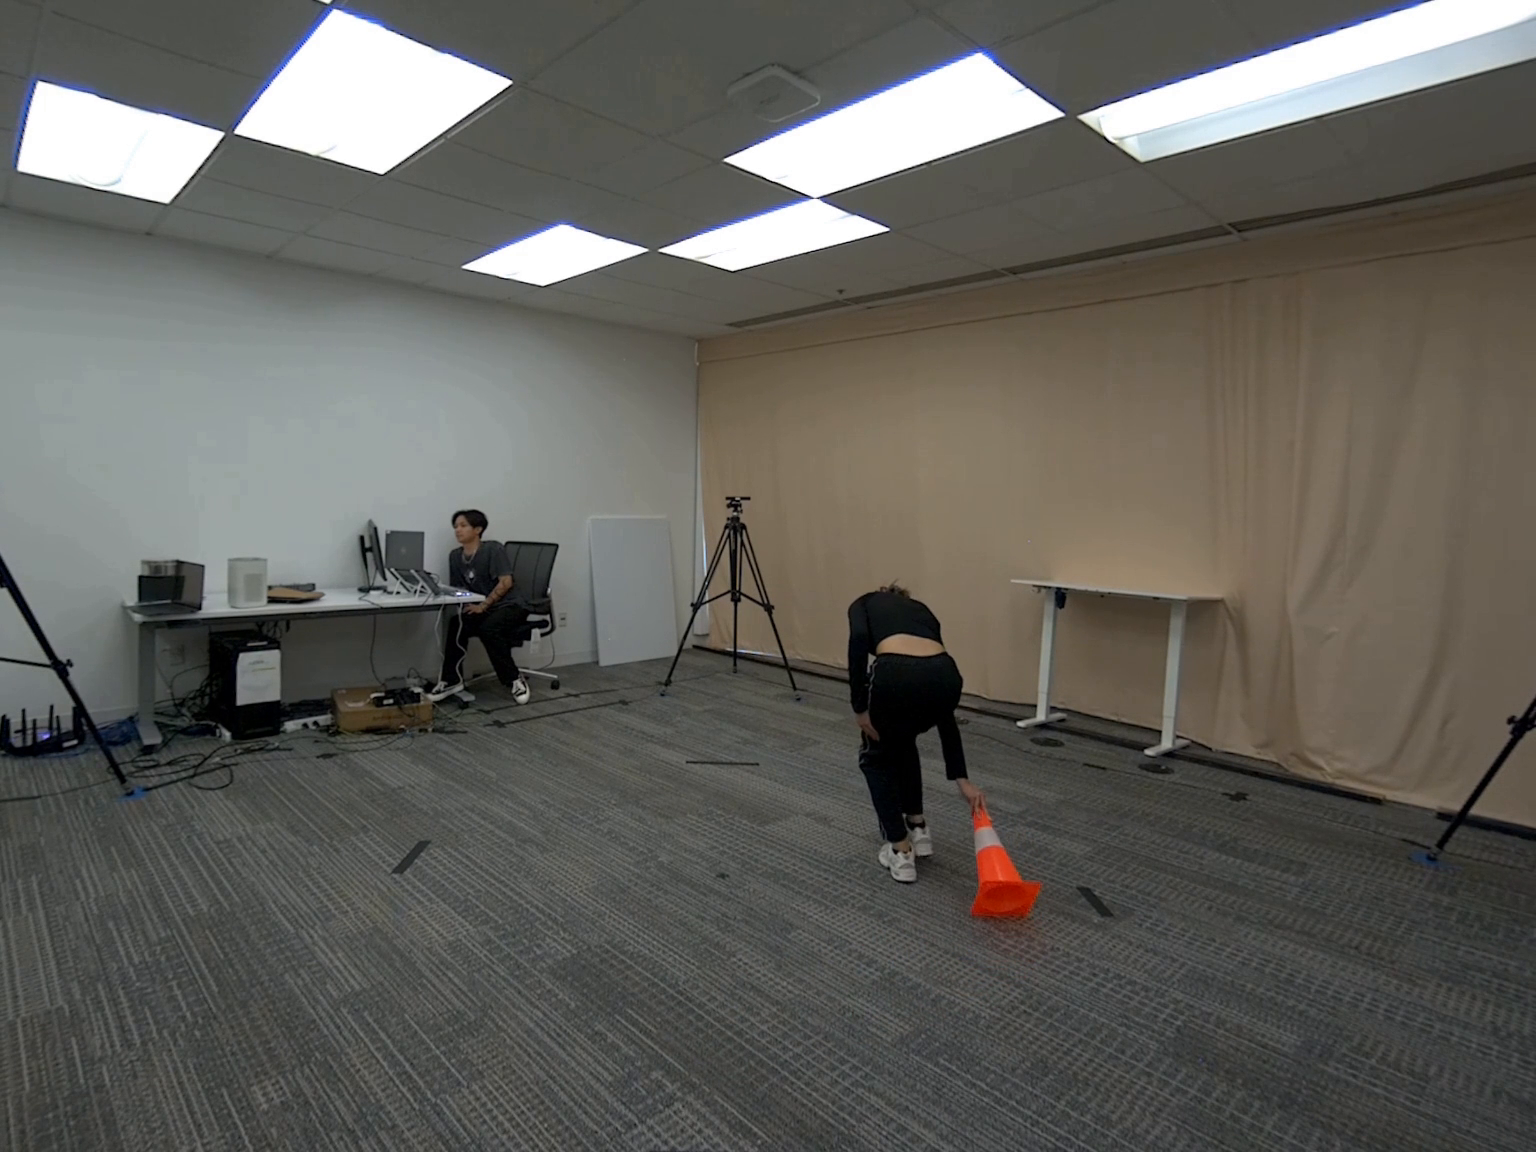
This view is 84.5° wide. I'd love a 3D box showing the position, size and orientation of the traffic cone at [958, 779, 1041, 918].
[{"bbox_3d":[0.778,0.959,2.950,0.205,0.199,0.391,4,37,-1],"label":"traffic cone"}]
